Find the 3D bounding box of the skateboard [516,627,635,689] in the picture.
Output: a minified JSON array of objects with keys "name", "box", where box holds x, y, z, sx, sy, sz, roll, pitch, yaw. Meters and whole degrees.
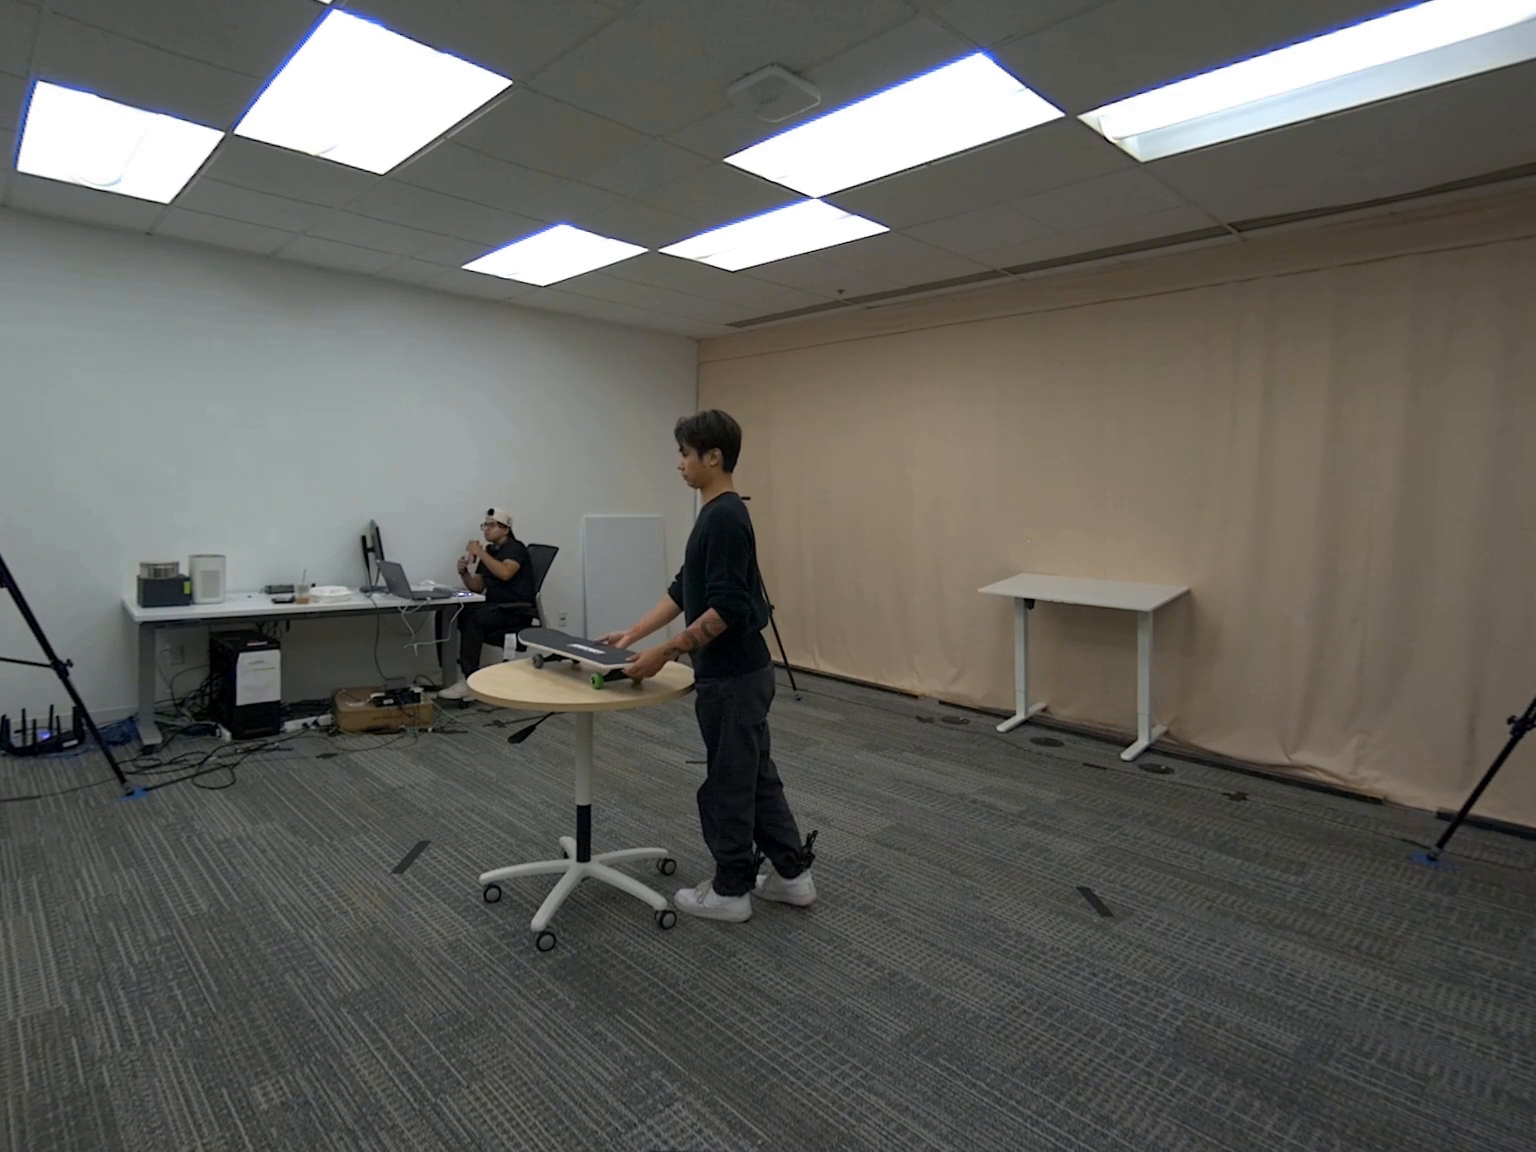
[{"name":"skateboard","box":[-0.631,0.290,2.862,0.189,0.110,0.806,-3,7,-42]}]
